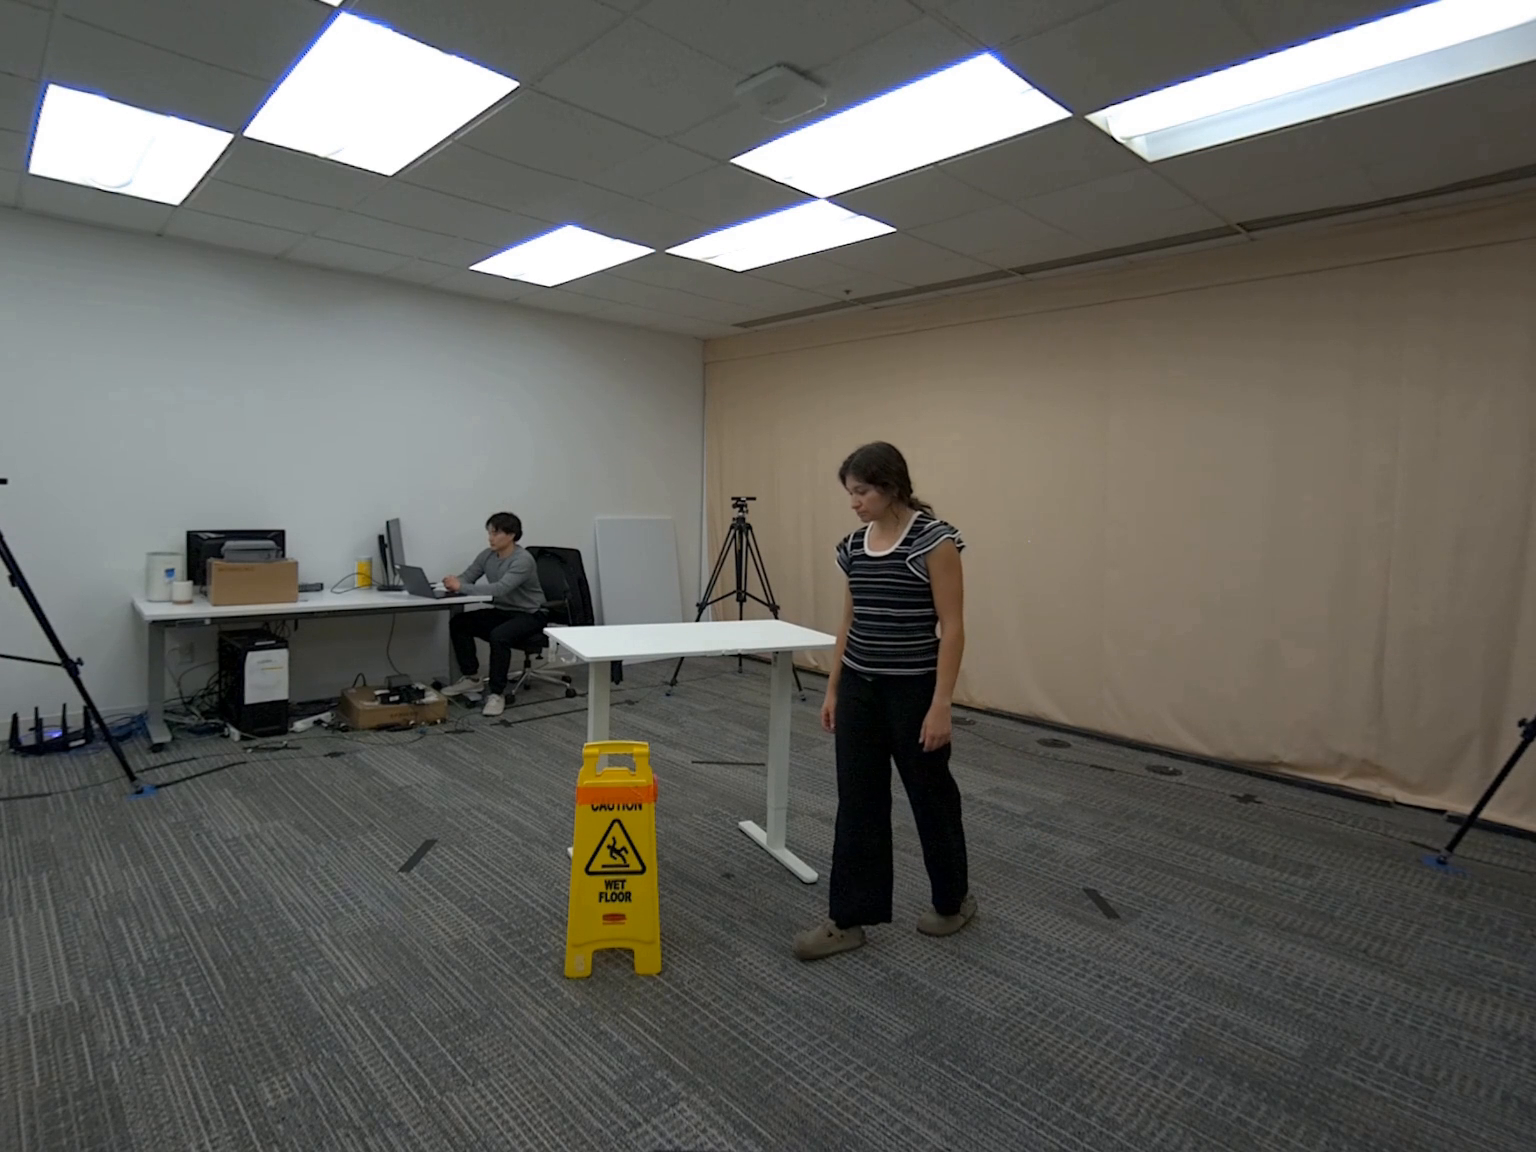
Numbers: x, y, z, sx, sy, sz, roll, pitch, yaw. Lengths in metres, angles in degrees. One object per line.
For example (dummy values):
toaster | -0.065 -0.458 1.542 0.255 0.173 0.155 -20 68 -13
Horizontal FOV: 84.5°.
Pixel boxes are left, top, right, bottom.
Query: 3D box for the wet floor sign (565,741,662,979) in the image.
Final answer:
wet floor sign | -0.468 0.822 2.542 0.281 0.644 0.292 1 5 -7
